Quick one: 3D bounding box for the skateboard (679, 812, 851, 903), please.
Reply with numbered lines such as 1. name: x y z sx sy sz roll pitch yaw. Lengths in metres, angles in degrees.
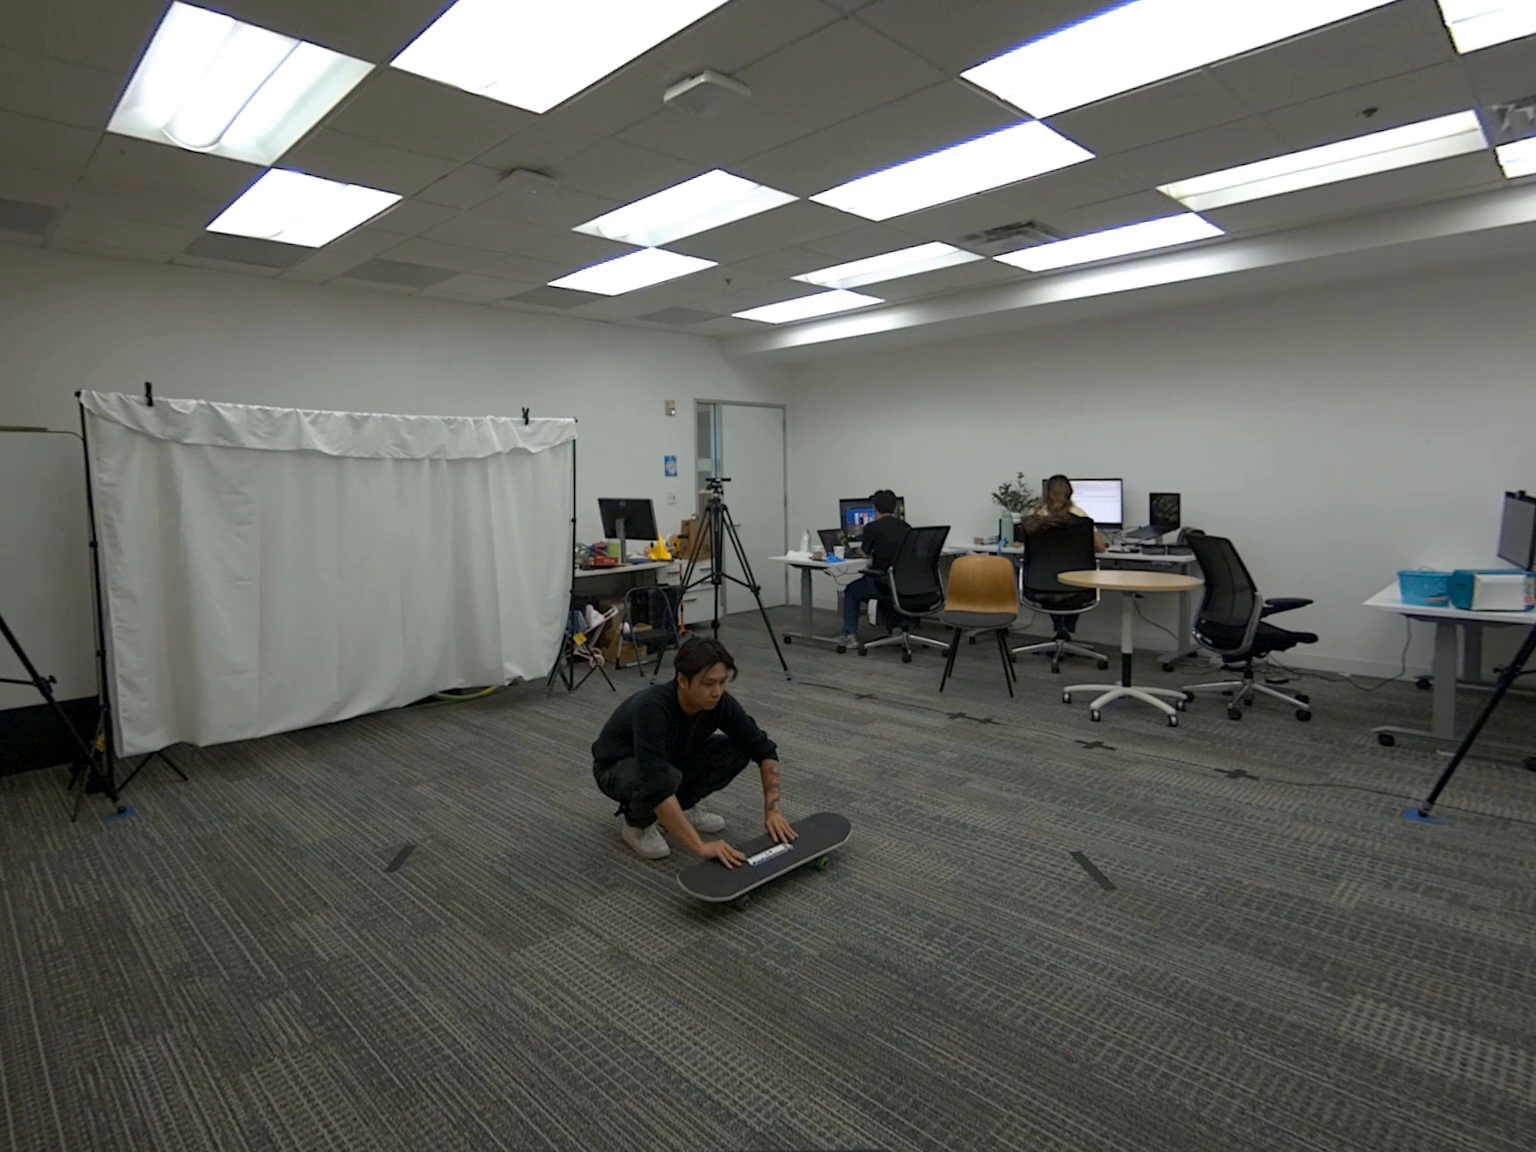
1. skateboard: 0.008 0.984 2.950 0.765 0.109 0.200 -8 19 -44
